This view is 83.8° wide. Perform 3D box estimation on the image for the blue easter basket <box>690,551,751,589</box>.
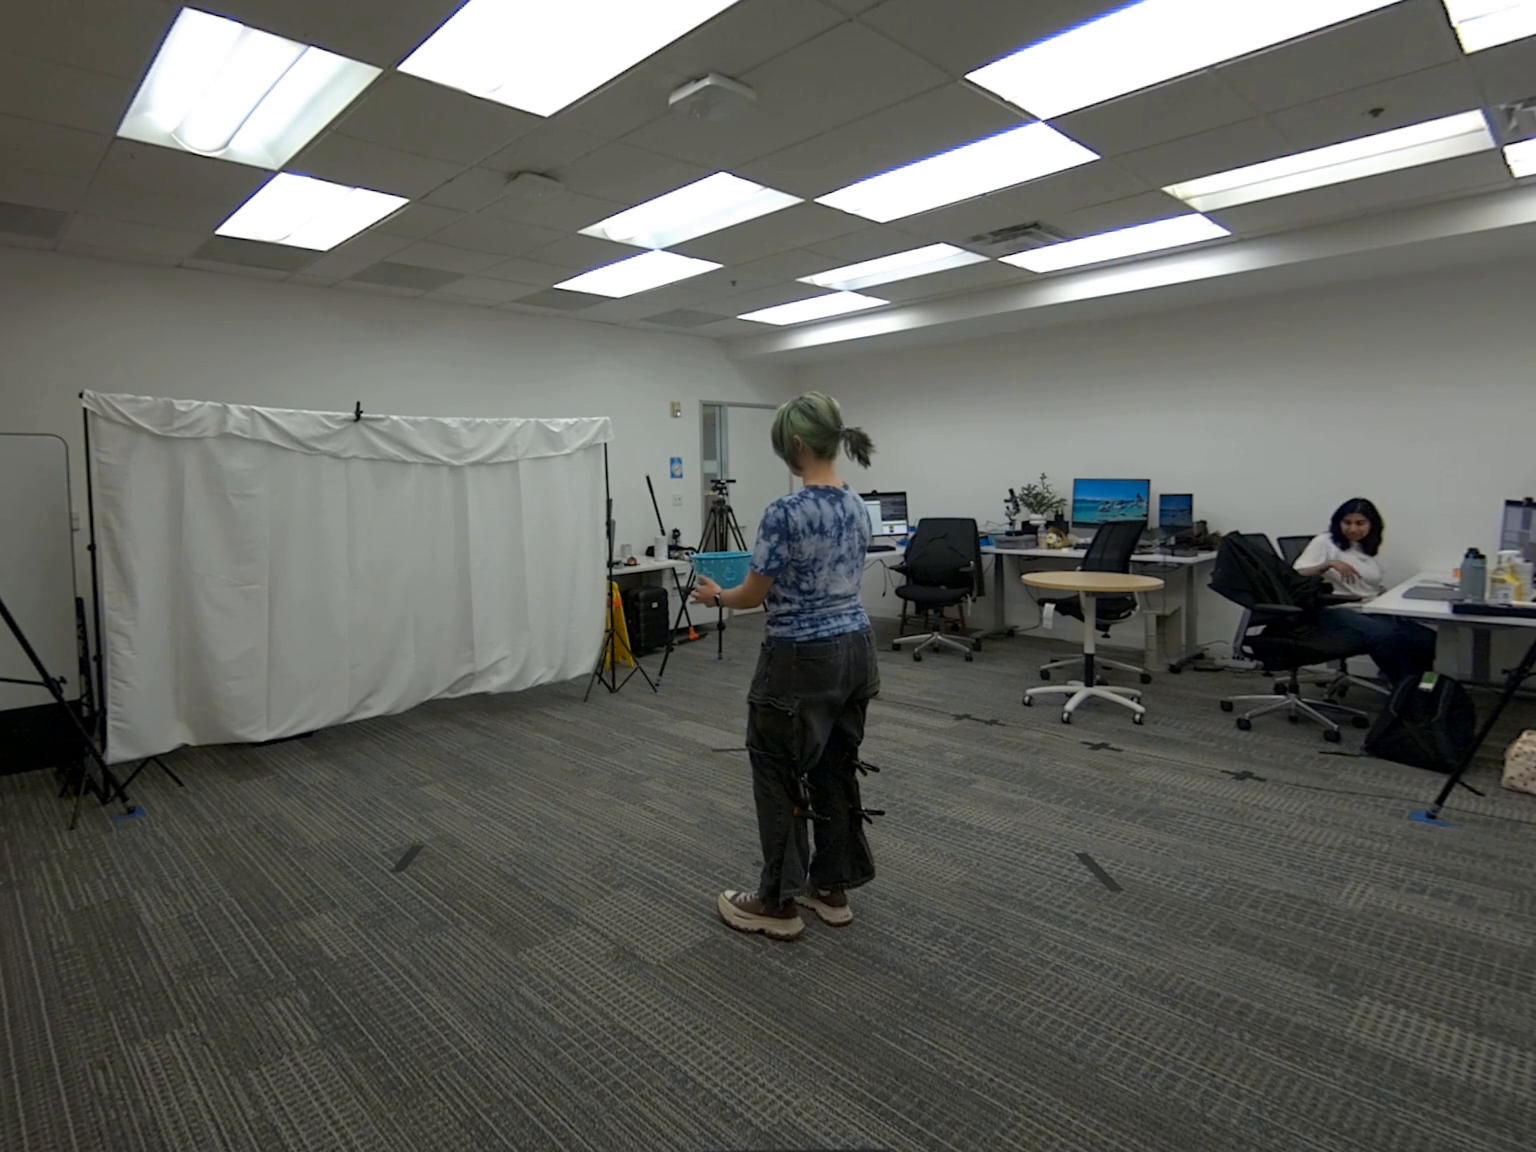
[{"bbox_3d":[-0.159,0.003,2.948,0.243,0.155,0.244,-2,4,-2],"label":"blue easter basket"}]
